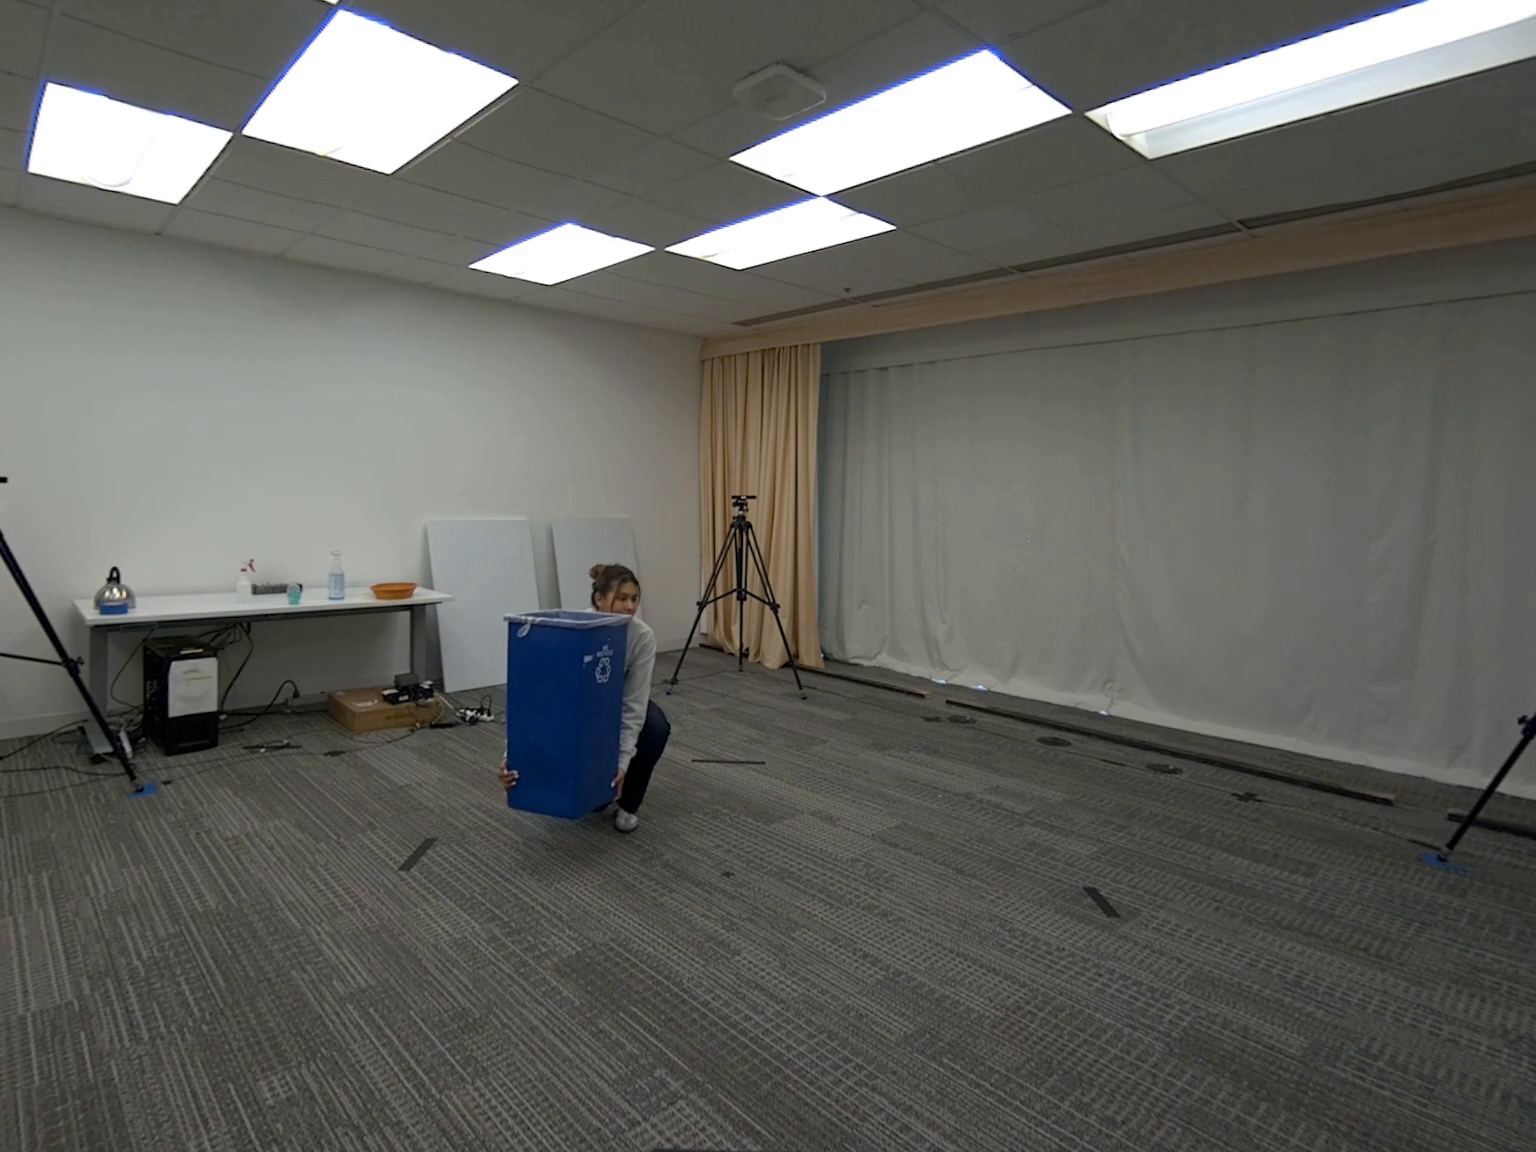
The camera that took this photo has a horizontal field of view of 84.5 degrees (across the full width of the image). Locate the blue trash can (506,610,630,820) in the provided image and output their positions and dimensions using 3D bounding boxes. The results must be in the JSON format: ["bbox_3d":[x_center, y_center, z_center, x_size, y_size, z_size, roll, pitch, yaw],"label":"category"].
[{"bbox_3d":[-0.780,0.500,3.190,0.384,0.713,0.368,2,1,20],"label":"blue trash can"}]
